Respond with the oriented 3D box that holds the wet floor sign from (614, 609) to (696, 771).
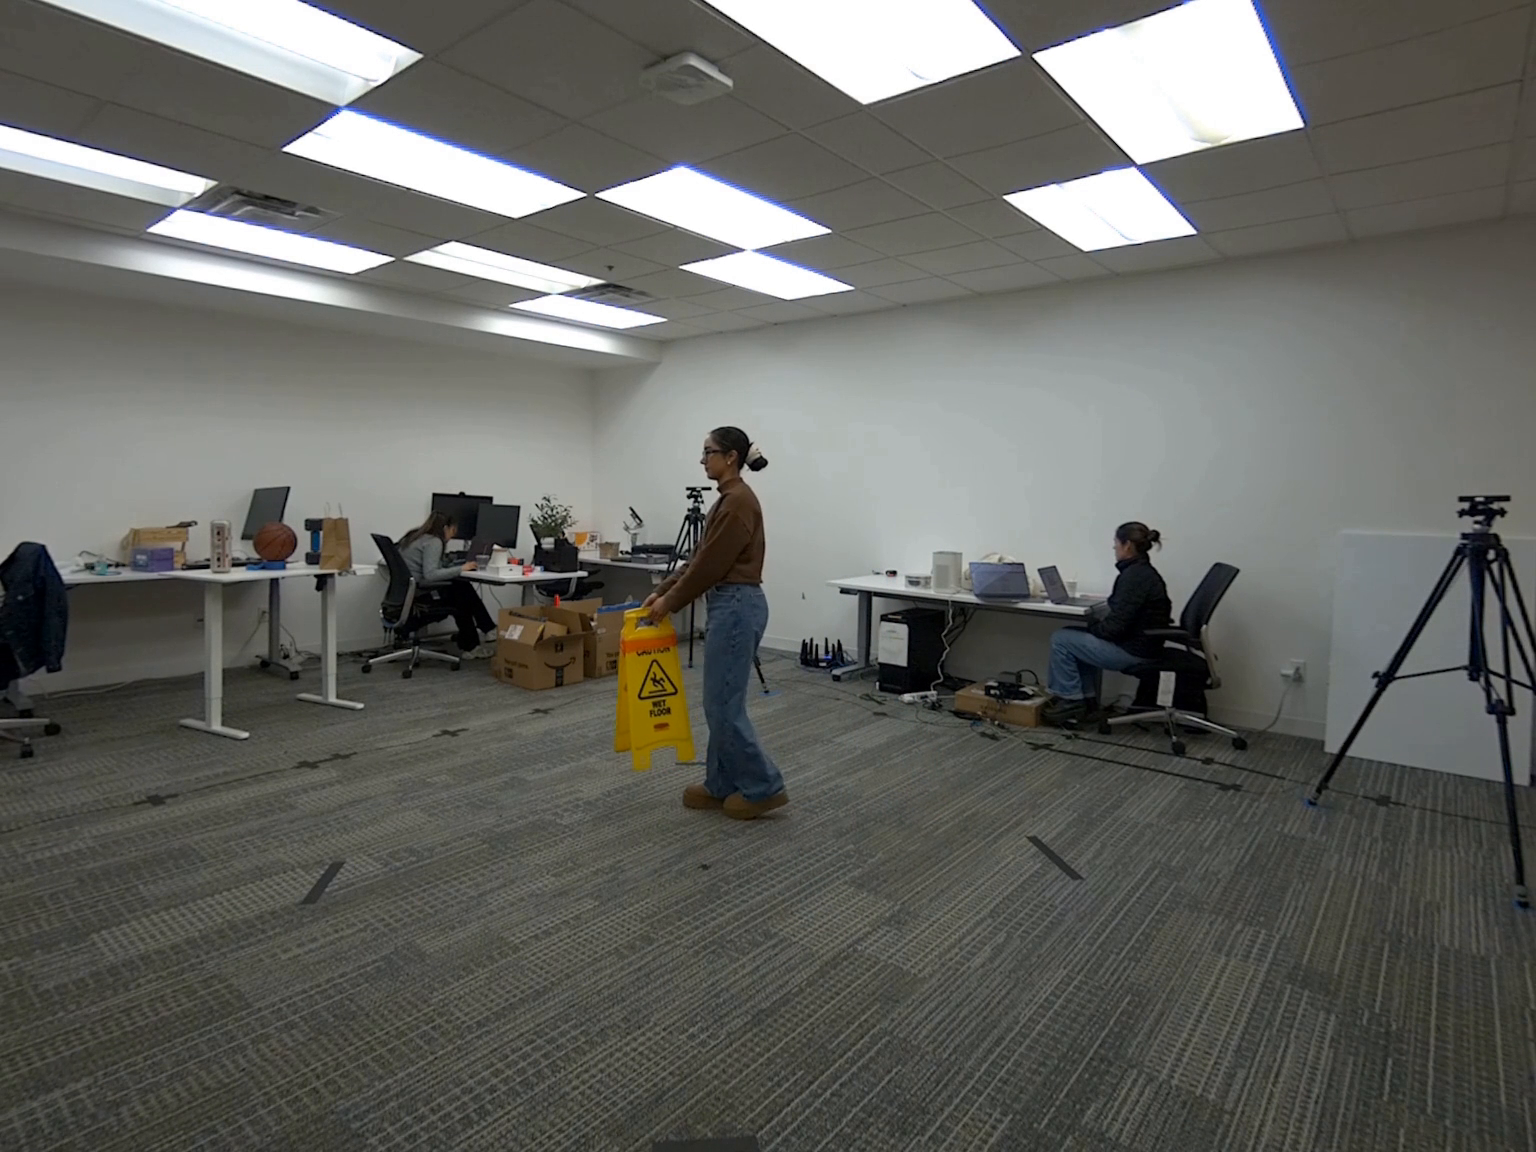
[{"bbox_3d":[-0.520,0.454,3.679,0.276,0.642,0.298,-4,6,-25],"label":"wet floor sign"}]
